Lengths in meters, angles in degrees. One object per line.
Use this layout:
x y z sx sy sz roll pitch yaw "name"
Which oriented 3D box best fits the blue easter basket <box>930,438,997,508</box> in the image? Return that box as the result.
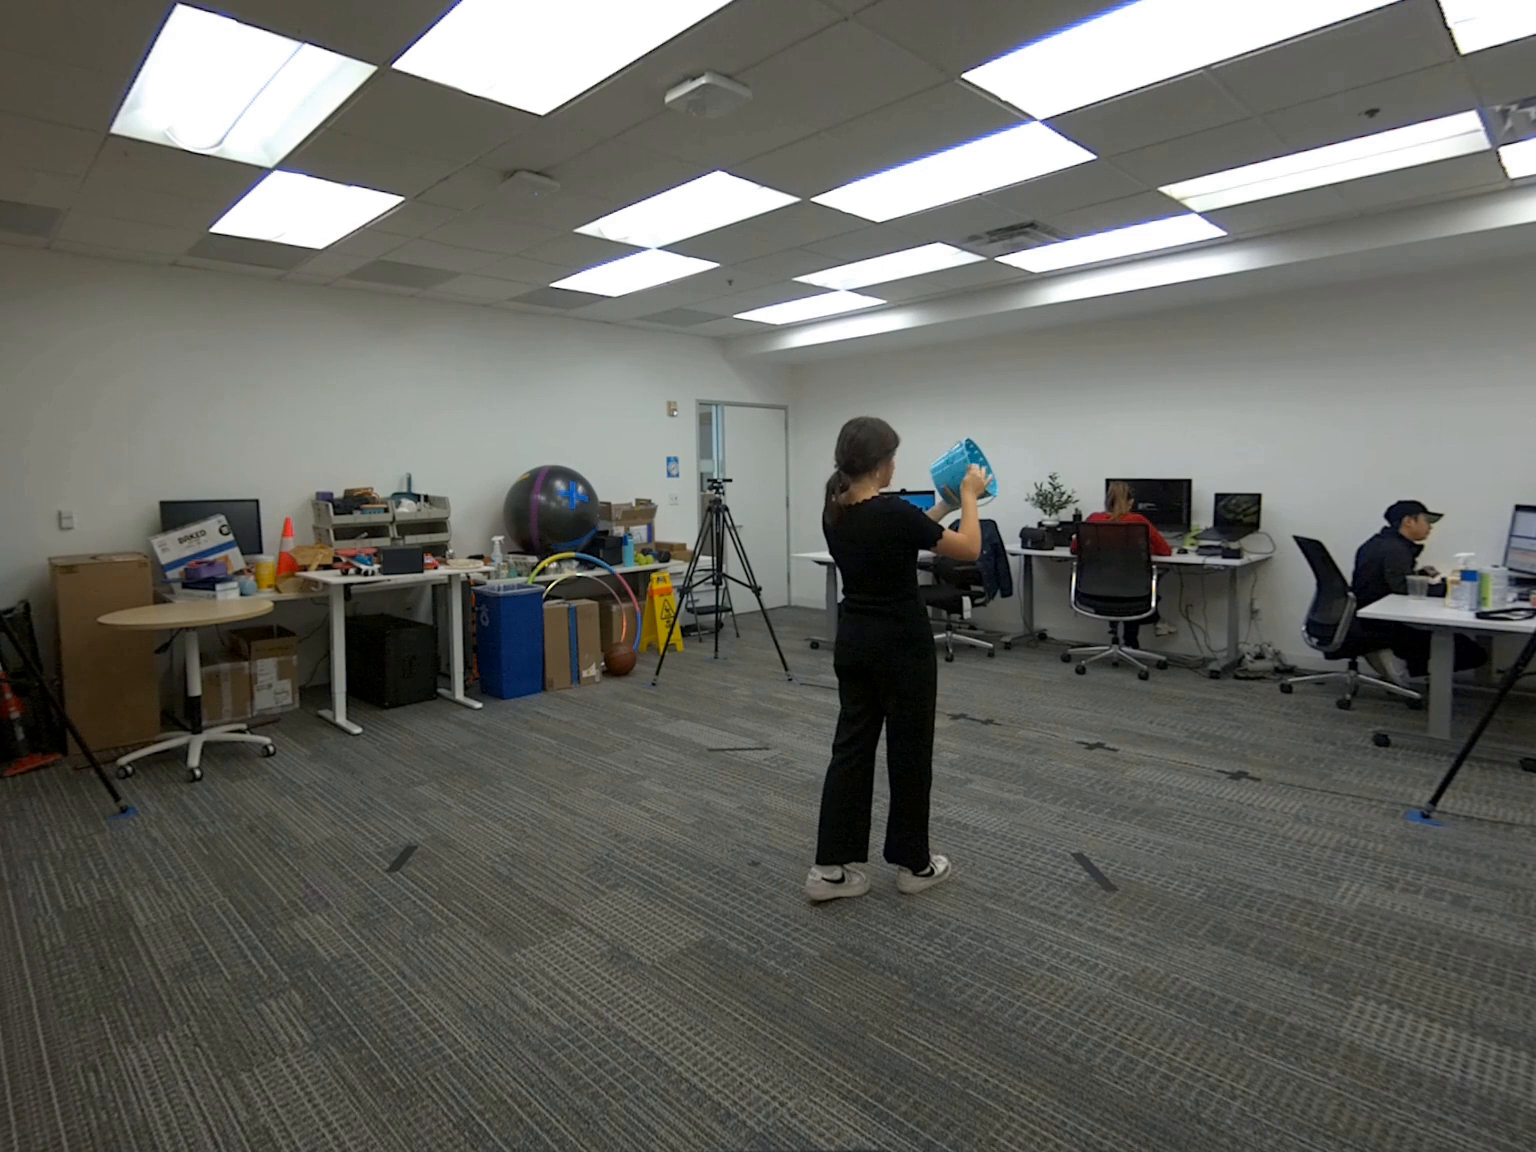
0.700 -0.357 3.050 0.157 0.247 0.238 -29 -11 31 "blue easter basket"
